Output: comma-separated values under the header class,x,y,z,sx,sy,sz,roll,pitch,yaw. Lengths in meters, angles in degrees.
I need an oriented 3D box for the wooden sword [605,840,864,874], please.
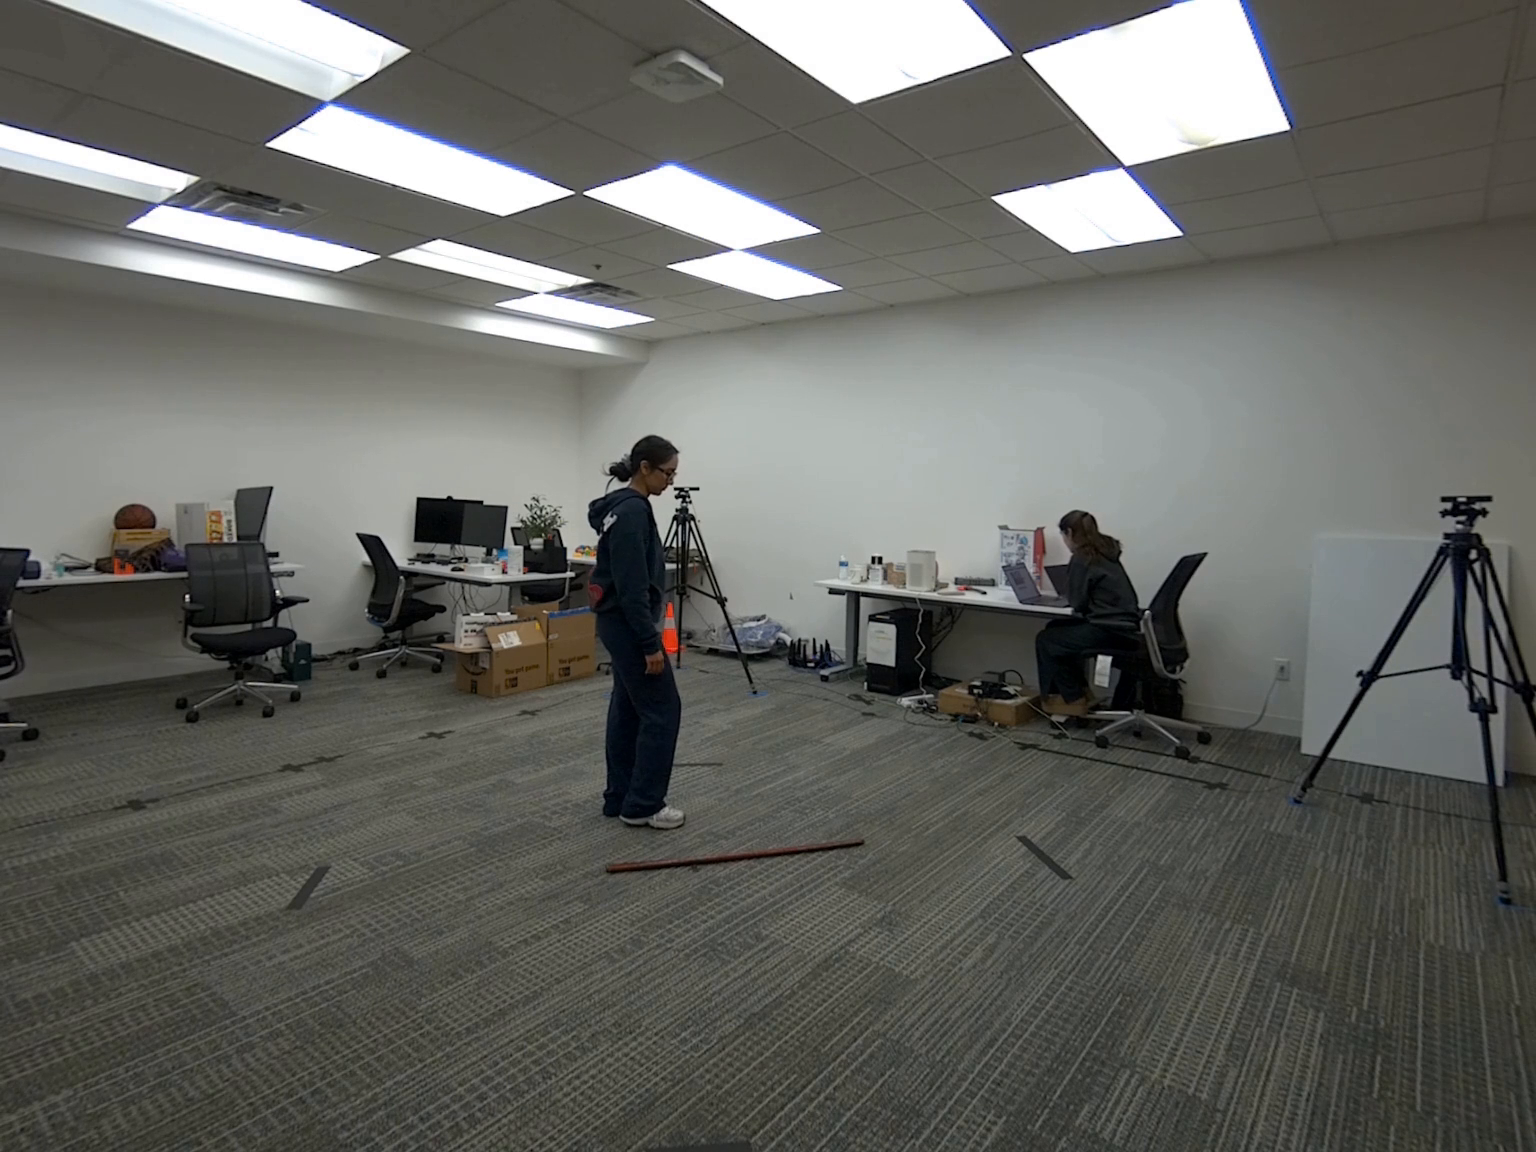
class,x,y,z,sx,sy,sz,roll,pitch,yaw
wooden sword,-0.106,1.041,3.198,1.008,0.024,0.051,-1,-13,-16
